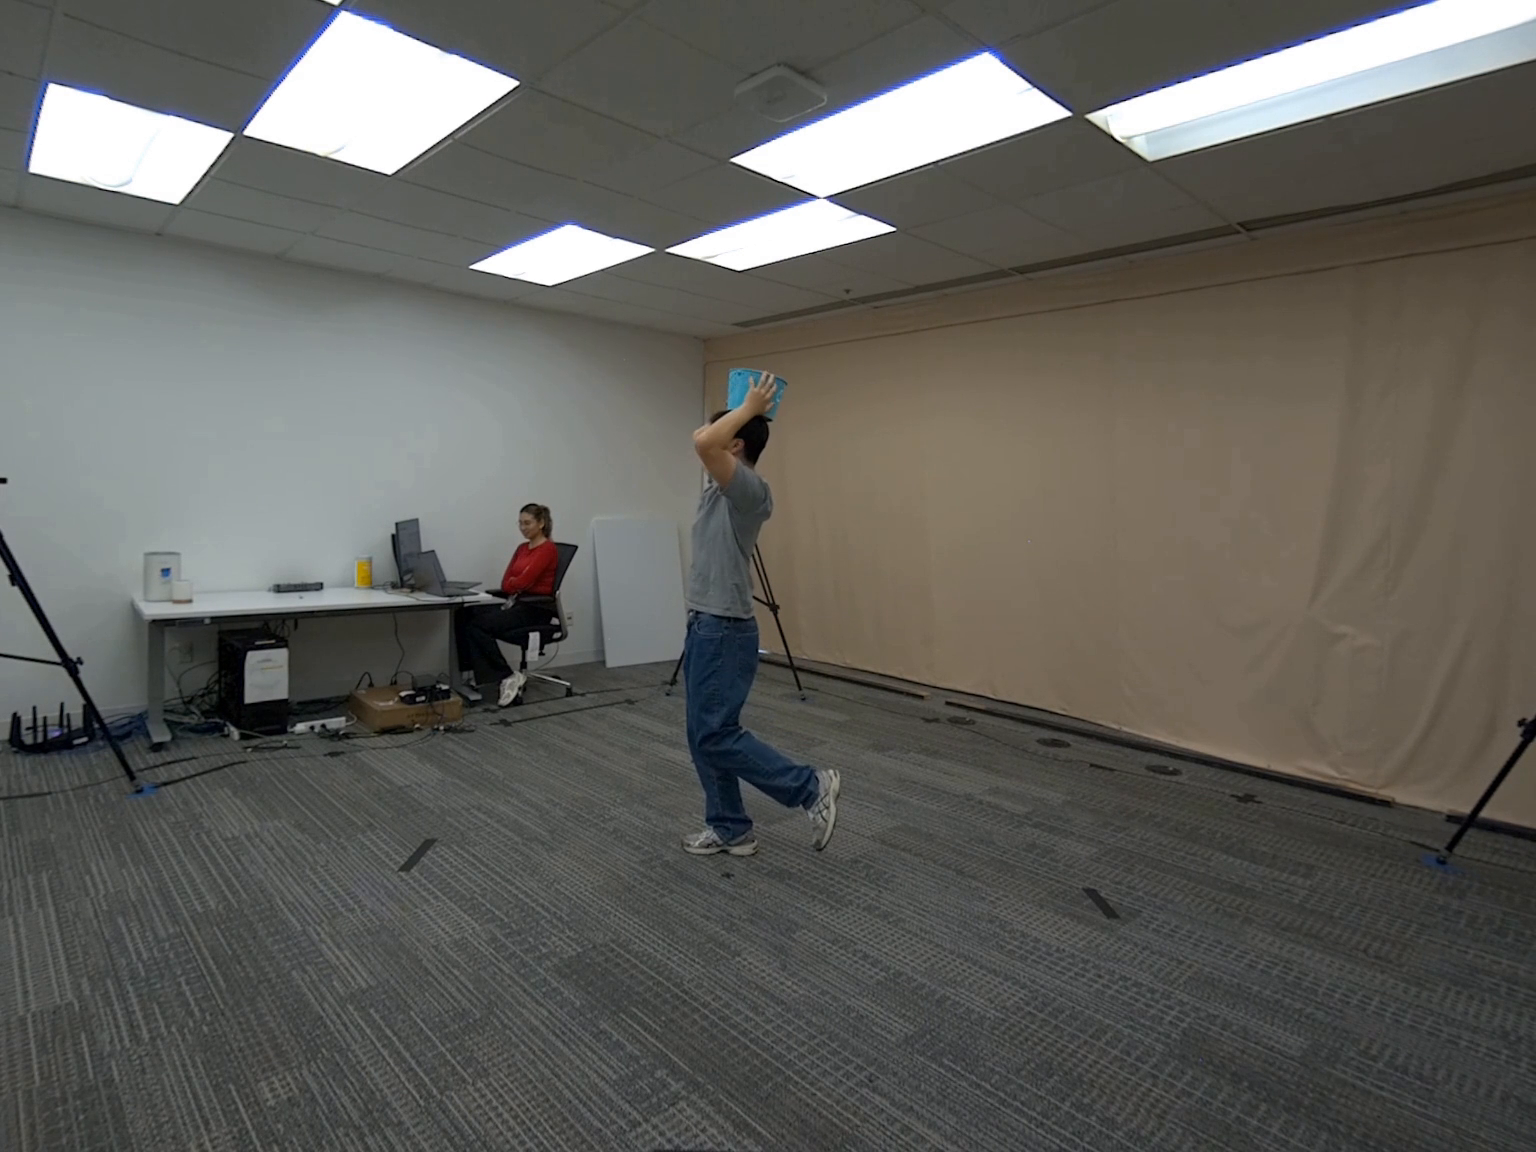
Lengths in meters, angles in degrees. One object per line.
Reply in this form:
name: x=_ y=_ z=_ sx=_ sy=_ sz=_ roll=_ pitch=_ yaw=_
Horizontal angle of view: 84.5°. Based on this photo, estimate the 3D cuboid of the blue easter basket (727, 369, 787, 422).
blue easter basket: x=-0.063 y=-0.689 z=3.249 sx=0.243 sy=0.156 sz=0.244 roll=15 pitch=0 yaw=-1
